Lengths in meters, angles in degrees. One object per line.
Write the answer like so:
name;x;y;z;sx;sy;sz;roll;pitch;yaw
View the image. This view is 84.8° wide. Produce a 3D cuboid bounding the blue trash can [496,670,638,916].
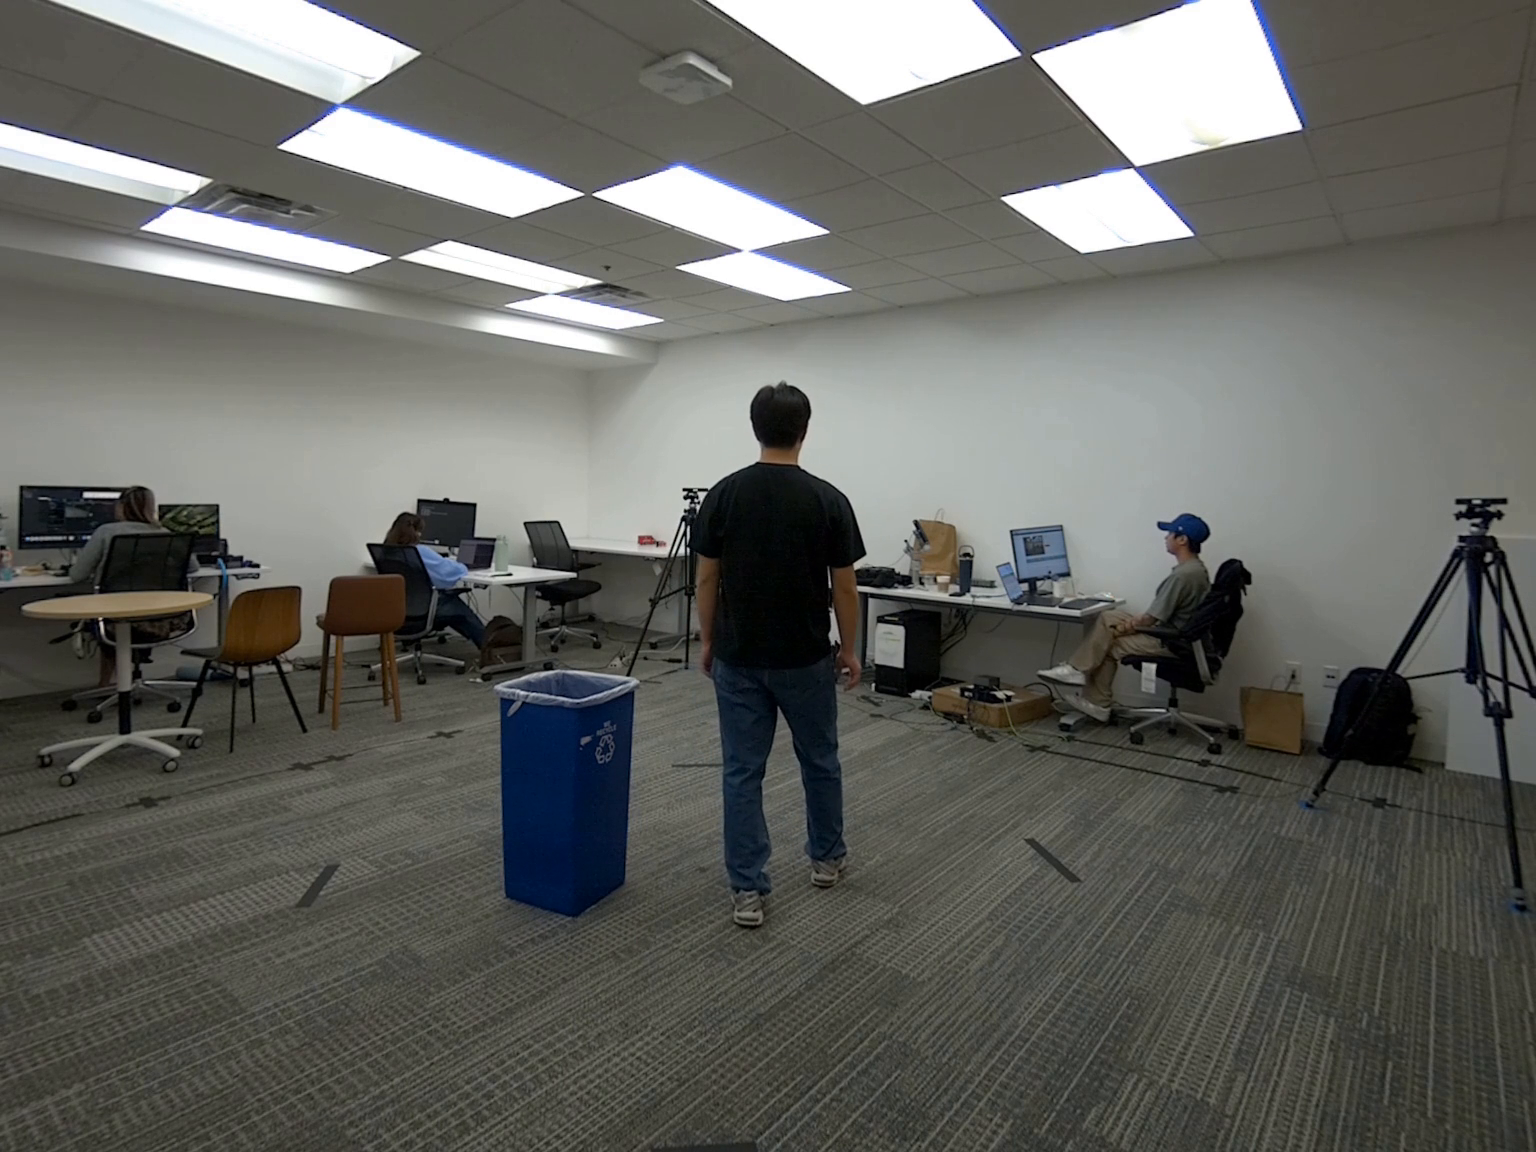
blue trash can;-0.700;0.719;2.931;0.388;0.711;0.366;3;4;25
